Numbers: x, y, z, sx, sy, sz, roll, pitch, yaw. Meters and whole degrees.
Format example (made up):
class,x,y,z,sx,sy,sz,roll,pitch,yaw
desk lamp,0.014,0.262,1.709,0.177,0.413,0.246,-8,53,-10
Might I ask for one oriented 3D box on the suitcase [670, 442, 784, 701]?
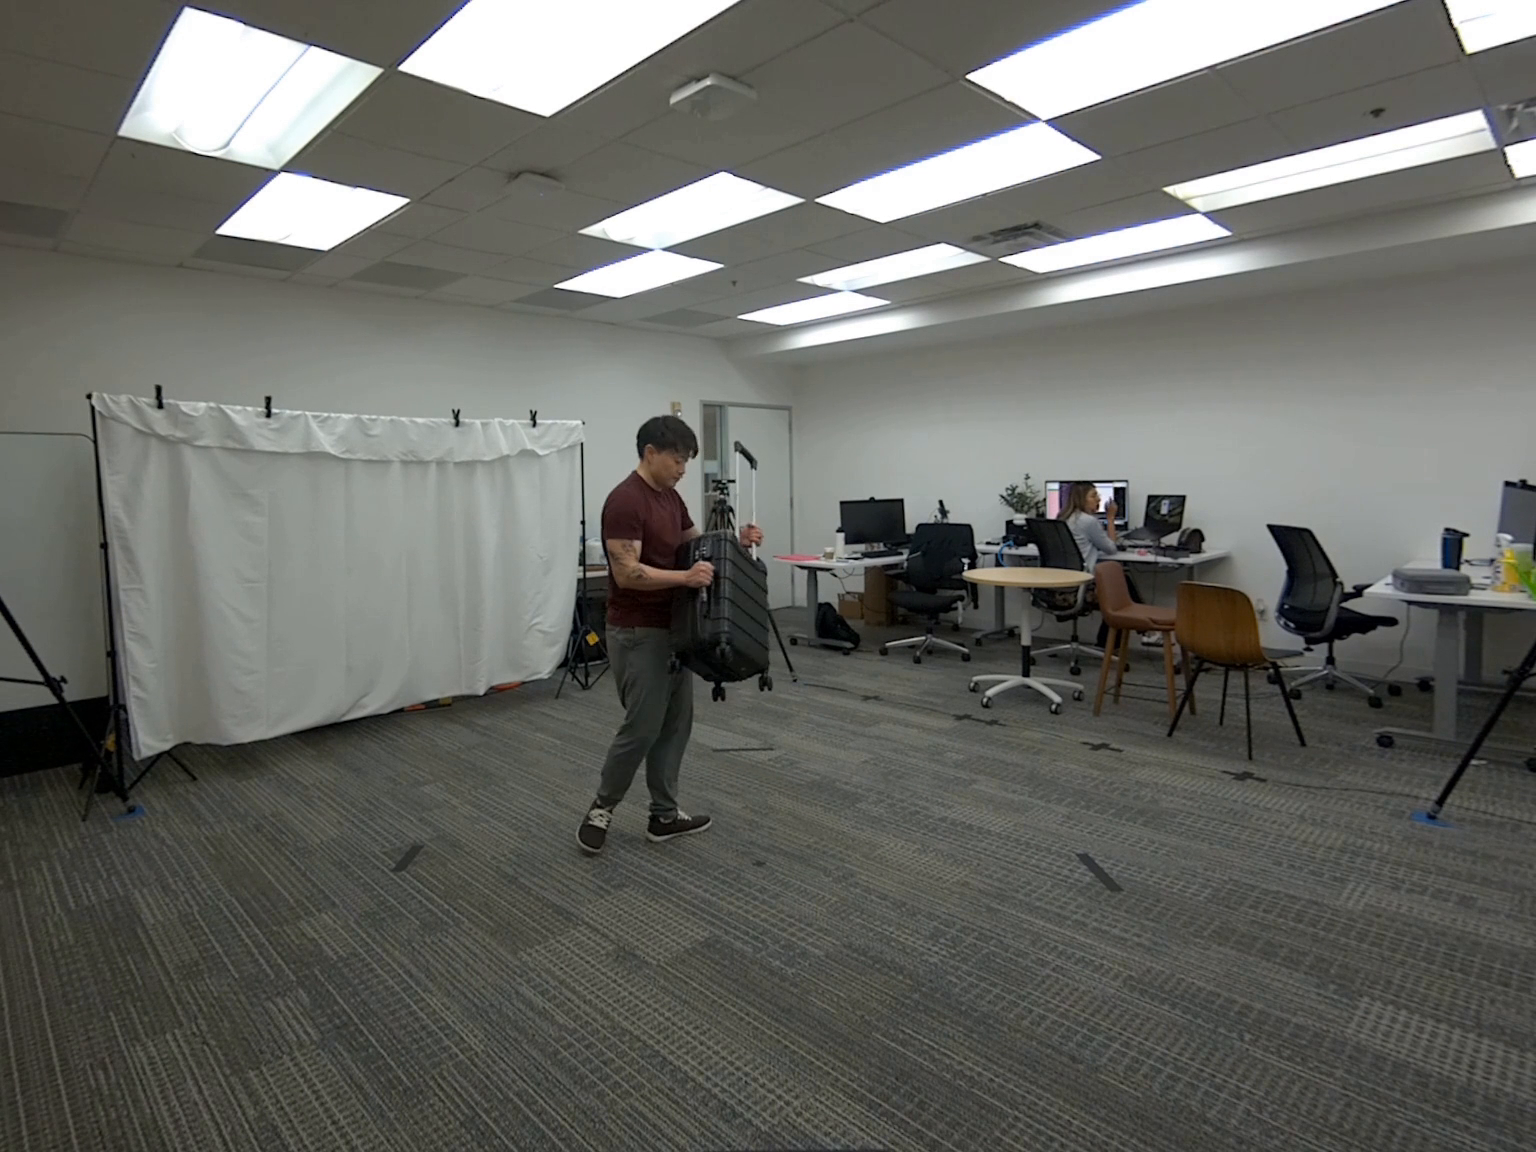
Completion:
class,x,y,z,sx,sy,sz,roll,pitch,yaw
suitcase,-0.194,-0.055,3.294,0.261,1.003,0.369,-18,-35,24
